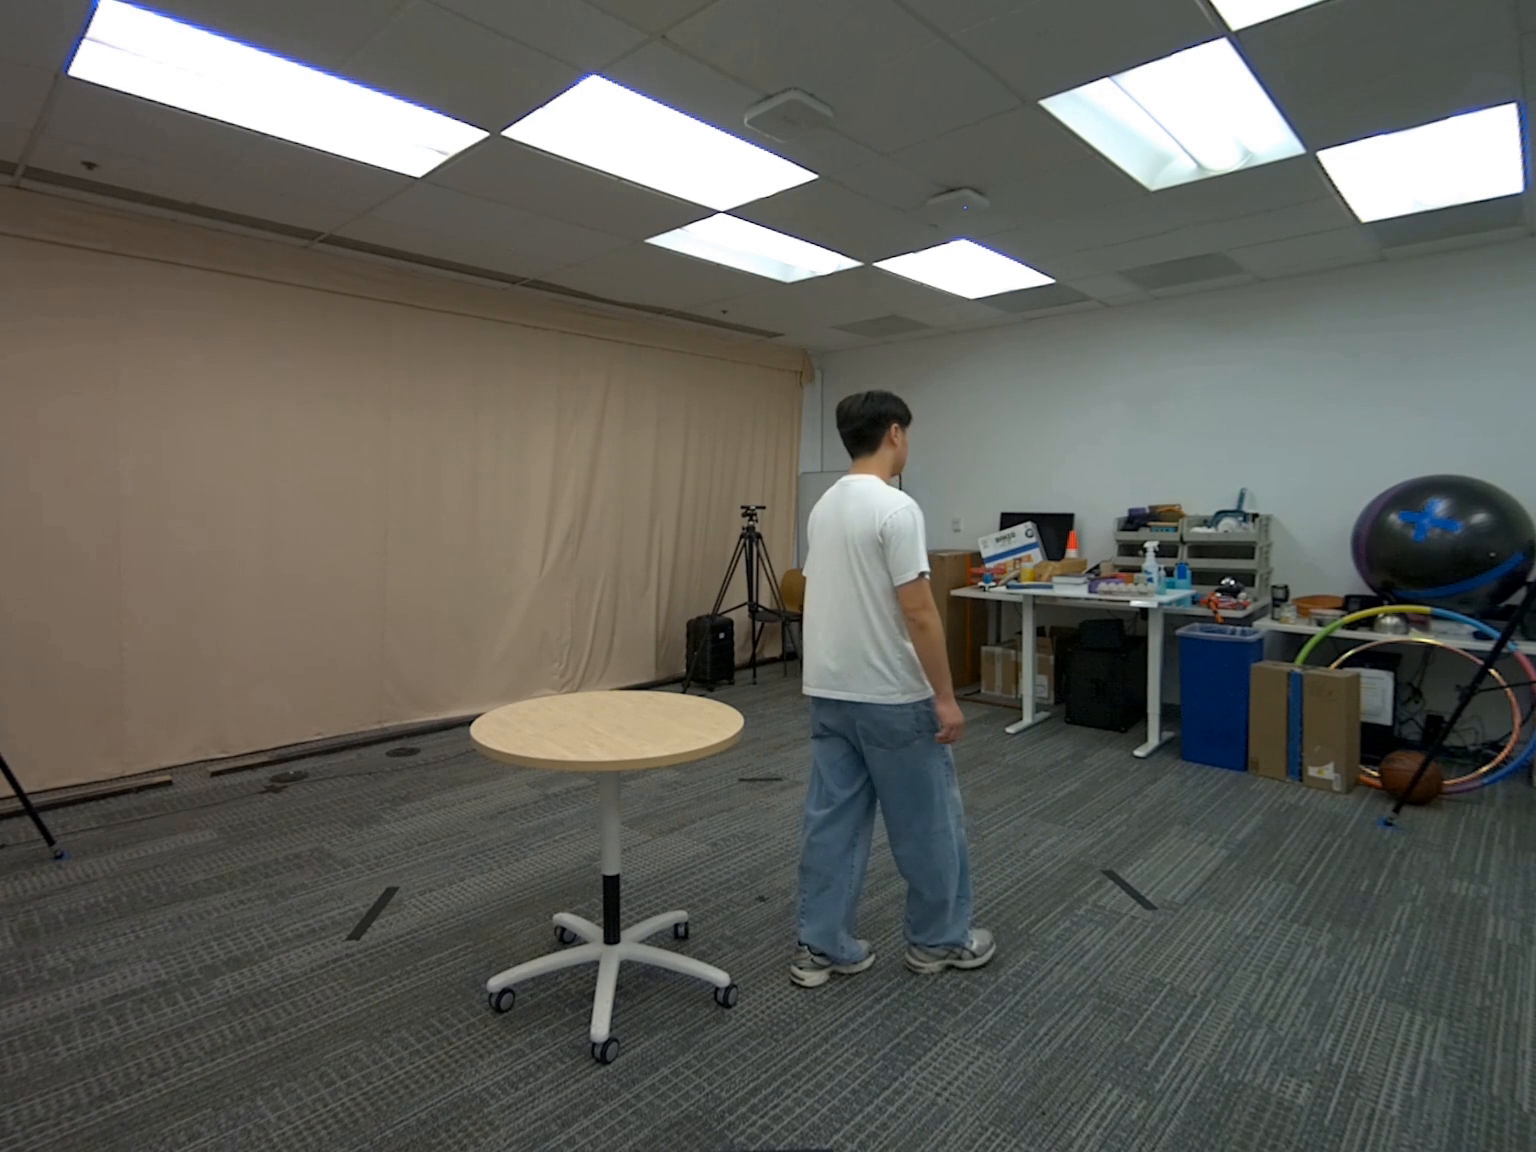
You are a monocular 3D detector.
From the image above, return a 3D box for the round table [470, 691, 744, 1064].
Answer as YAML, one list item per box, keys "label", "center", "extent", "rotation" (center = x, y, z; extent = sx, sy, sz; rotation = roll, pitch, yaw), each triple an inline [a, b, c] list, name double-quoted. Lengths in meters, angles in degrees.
- label: "round table"
  center: [-0.443, 0.811, 2.415]
  extent: [0.763, 0.792, 0.766]
  rotation: [0, 3, -2]
